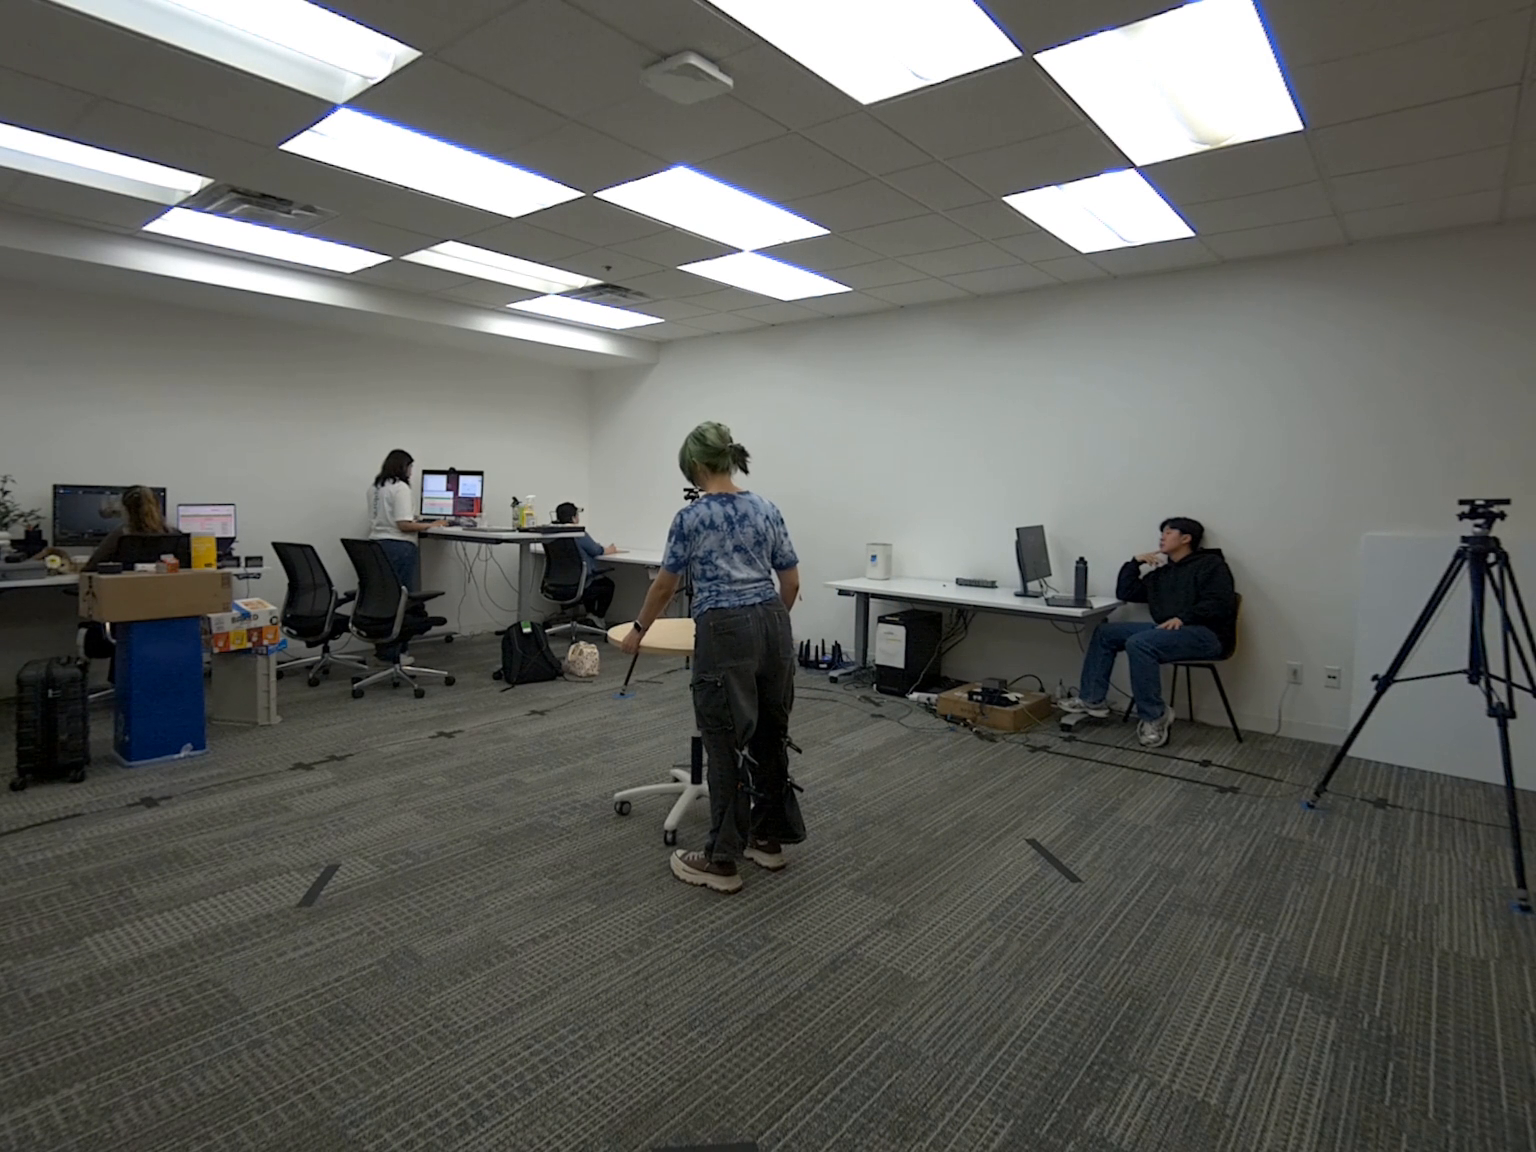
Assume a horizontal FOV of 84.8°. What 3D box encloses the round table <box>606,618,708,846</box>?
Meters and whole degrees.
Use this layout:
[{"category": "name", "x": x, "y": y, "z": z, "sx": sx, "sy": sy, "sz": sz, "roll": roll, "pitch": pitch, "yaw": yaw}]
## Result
[{"category": "round table", "x": -0.318, "y": 0.629, "z": 3.600, "sx": 0.763, "sy": 0.791, "sz": 0.768, "roll": 1, "pitch": 4, "yaw": -2}]
